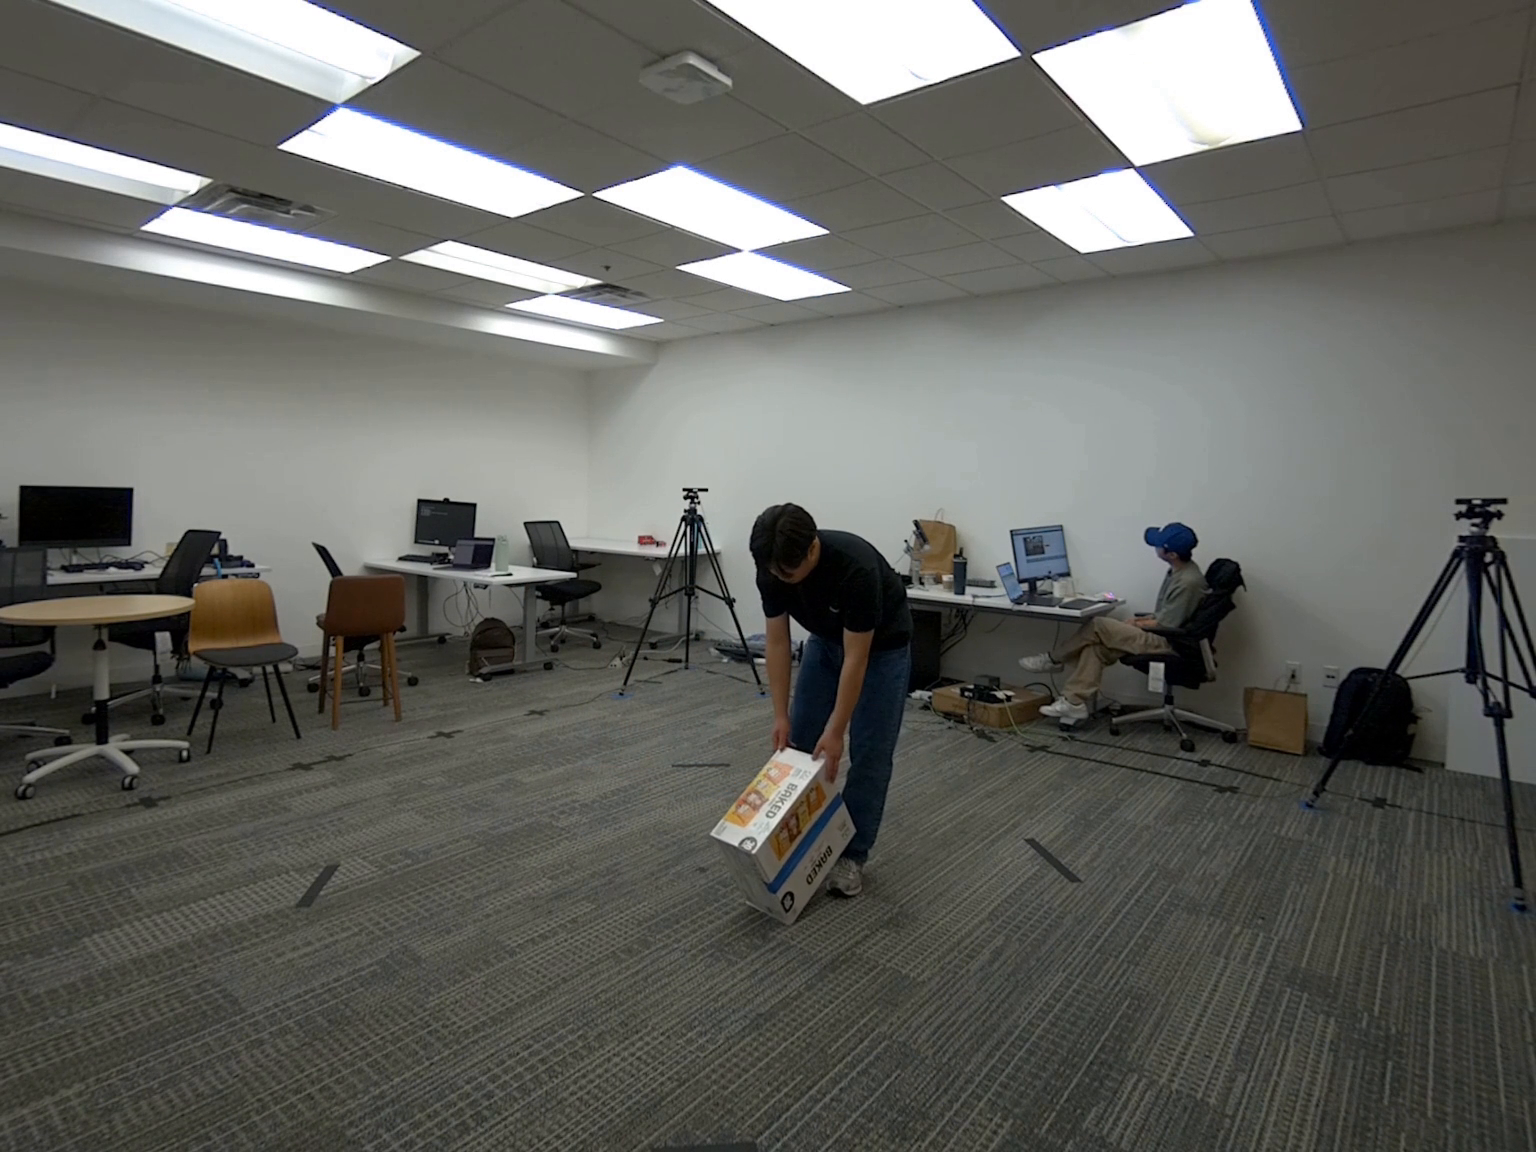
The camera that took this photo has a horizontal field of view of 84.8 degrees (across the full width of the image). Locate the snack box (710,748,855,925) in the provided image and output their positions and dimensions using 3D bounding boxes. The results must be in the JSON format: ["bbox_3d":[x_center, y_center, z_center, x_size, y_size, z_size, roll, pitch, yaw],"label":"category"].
[{"bbox_3d":[0.048,0.851,2.827,0.213,0.330,0.404,5,39,45],"label":"snack box"}]
